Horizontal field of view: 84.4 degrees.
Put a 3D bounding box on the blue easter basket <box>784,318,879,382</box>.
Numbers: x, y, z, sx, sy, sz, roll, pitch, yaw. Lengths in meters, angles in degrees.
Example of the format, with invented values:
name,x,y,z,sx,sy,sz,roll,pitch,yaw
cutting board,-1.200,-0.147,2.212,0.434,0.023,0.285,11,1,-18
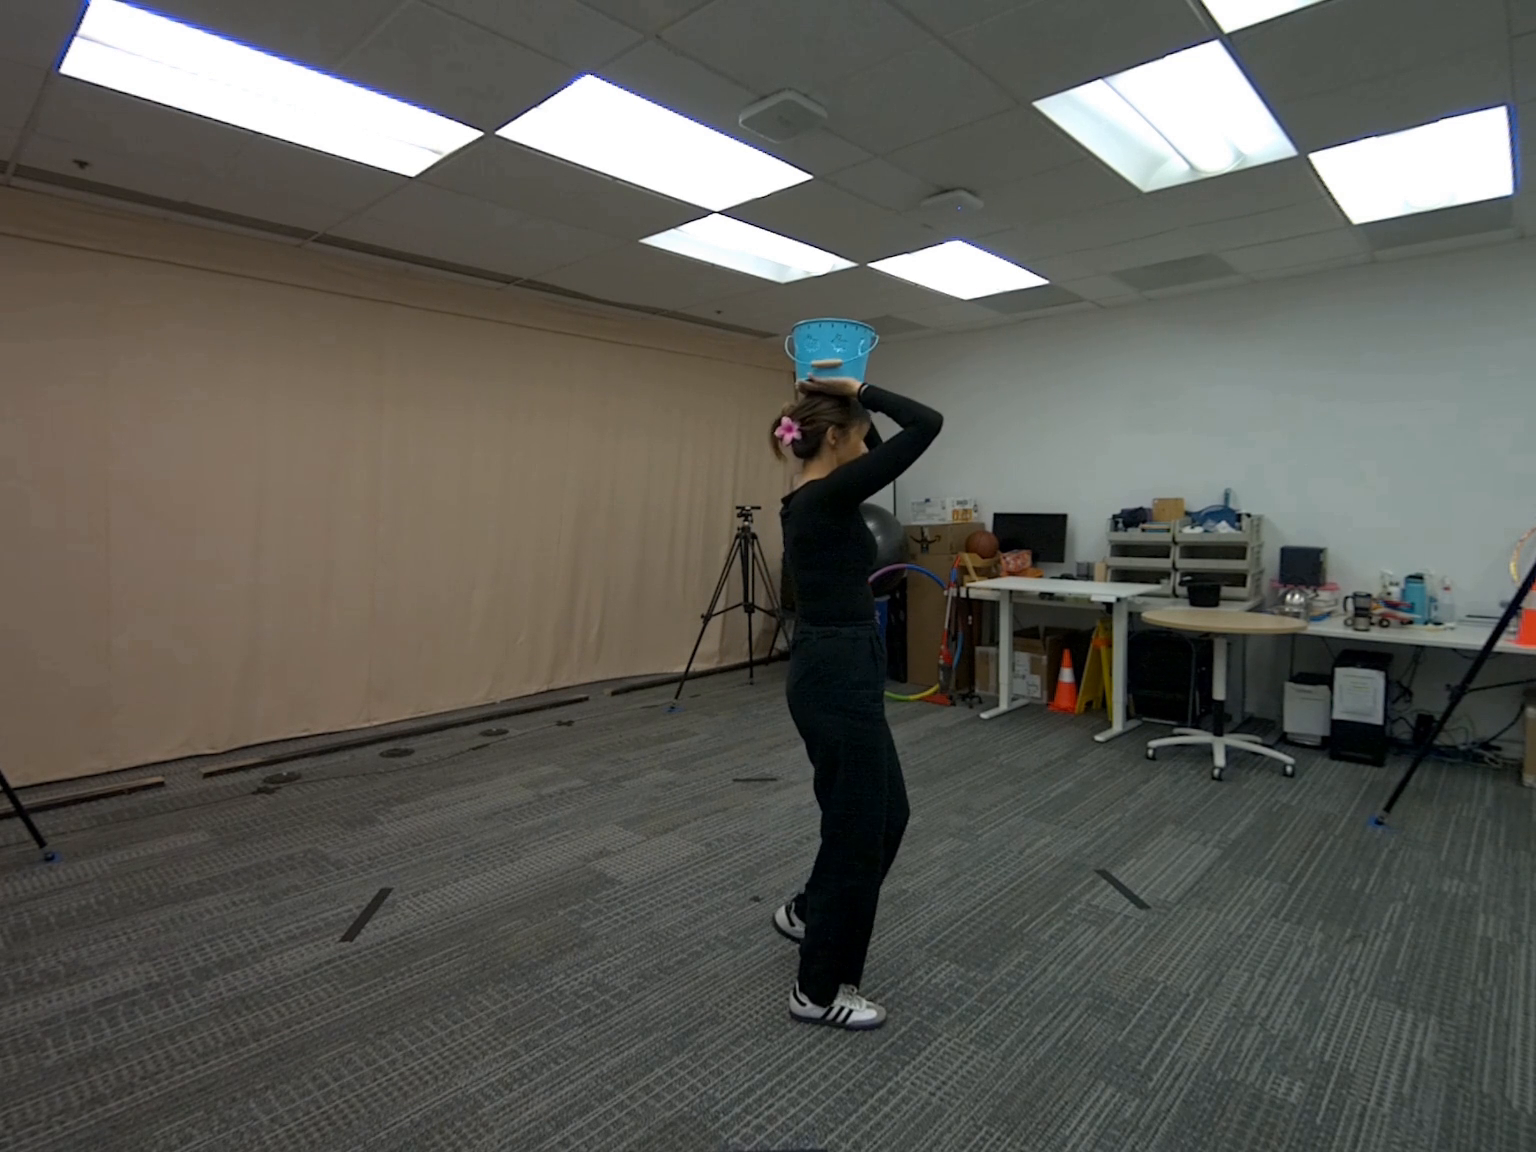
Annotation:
name,x,y,z,sx,sy,sz,roll,pitch,yaw
blue easter basket,0.179,-0.600,2.311,0.243,0.155,0.244,5,3,-2
